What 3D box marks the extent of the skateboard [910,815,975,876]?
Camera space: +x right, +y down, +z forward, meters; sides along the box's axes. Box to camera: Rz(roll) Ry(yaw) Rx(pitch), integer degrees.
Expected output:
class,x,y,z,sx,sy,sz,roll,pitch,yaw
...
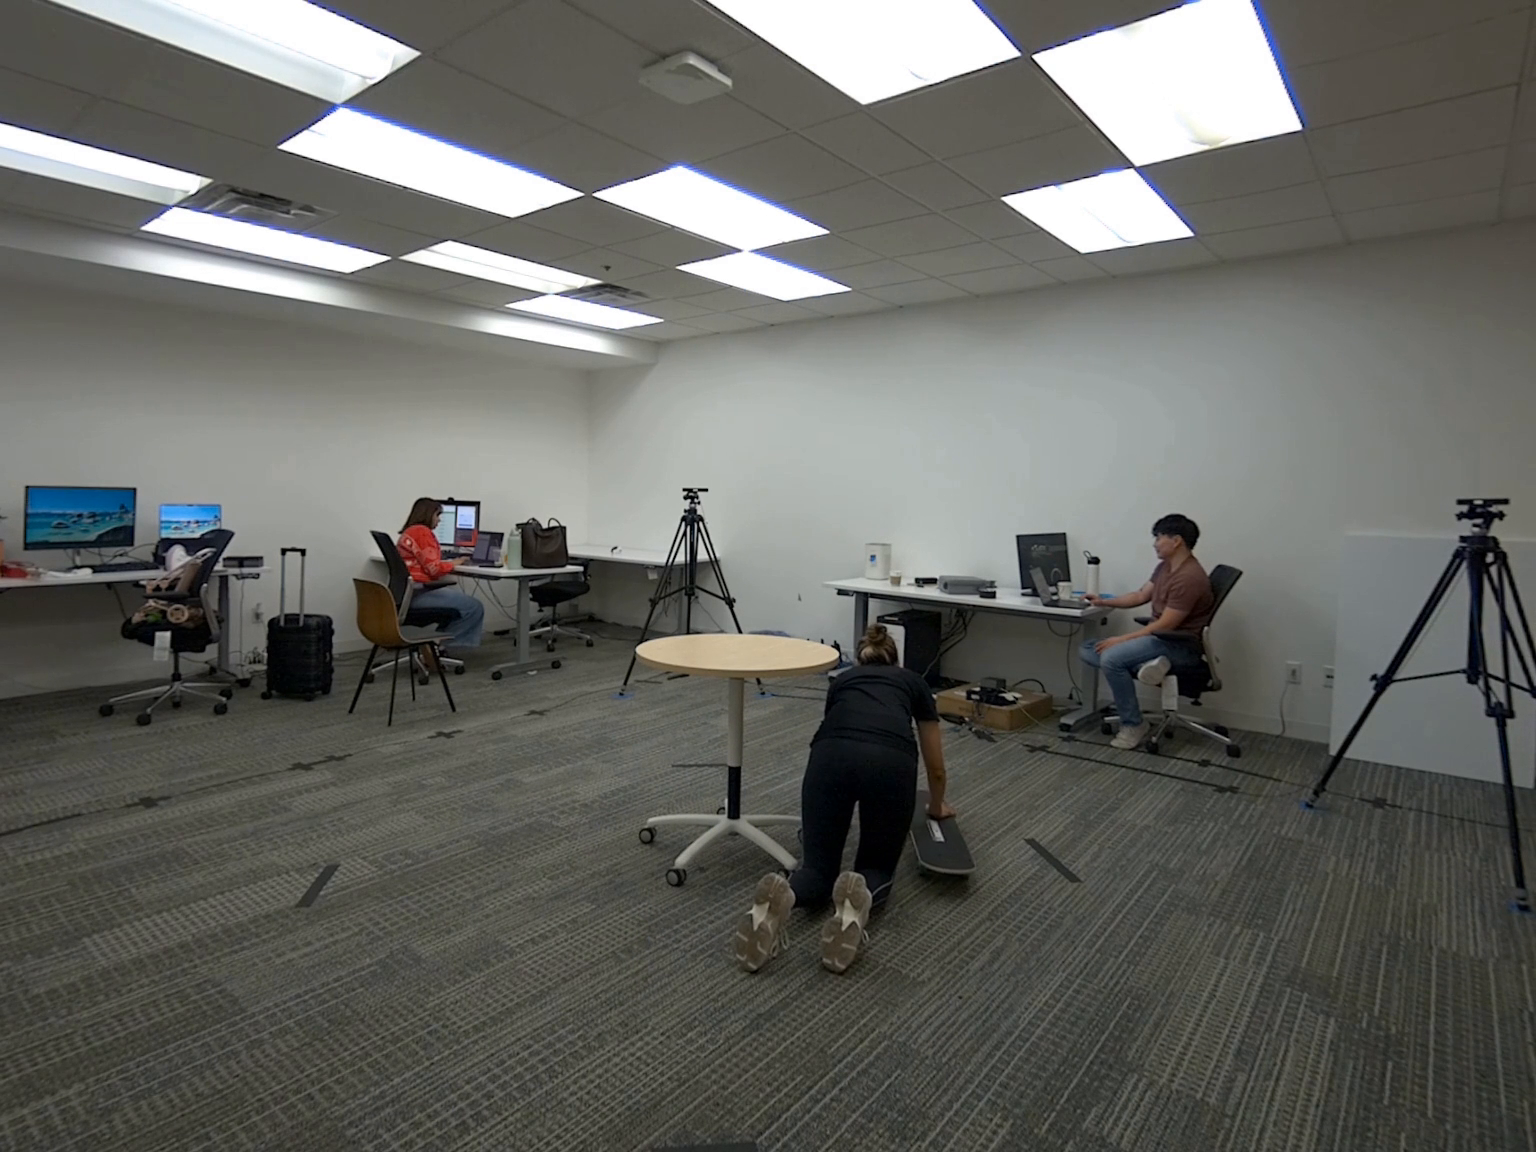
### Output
class,x,y,z,sx,sy,sz,roll,pitch,yaw
skateboard,0.638,1.016,3.292,0.194,0.110,0.785,1,6,2
